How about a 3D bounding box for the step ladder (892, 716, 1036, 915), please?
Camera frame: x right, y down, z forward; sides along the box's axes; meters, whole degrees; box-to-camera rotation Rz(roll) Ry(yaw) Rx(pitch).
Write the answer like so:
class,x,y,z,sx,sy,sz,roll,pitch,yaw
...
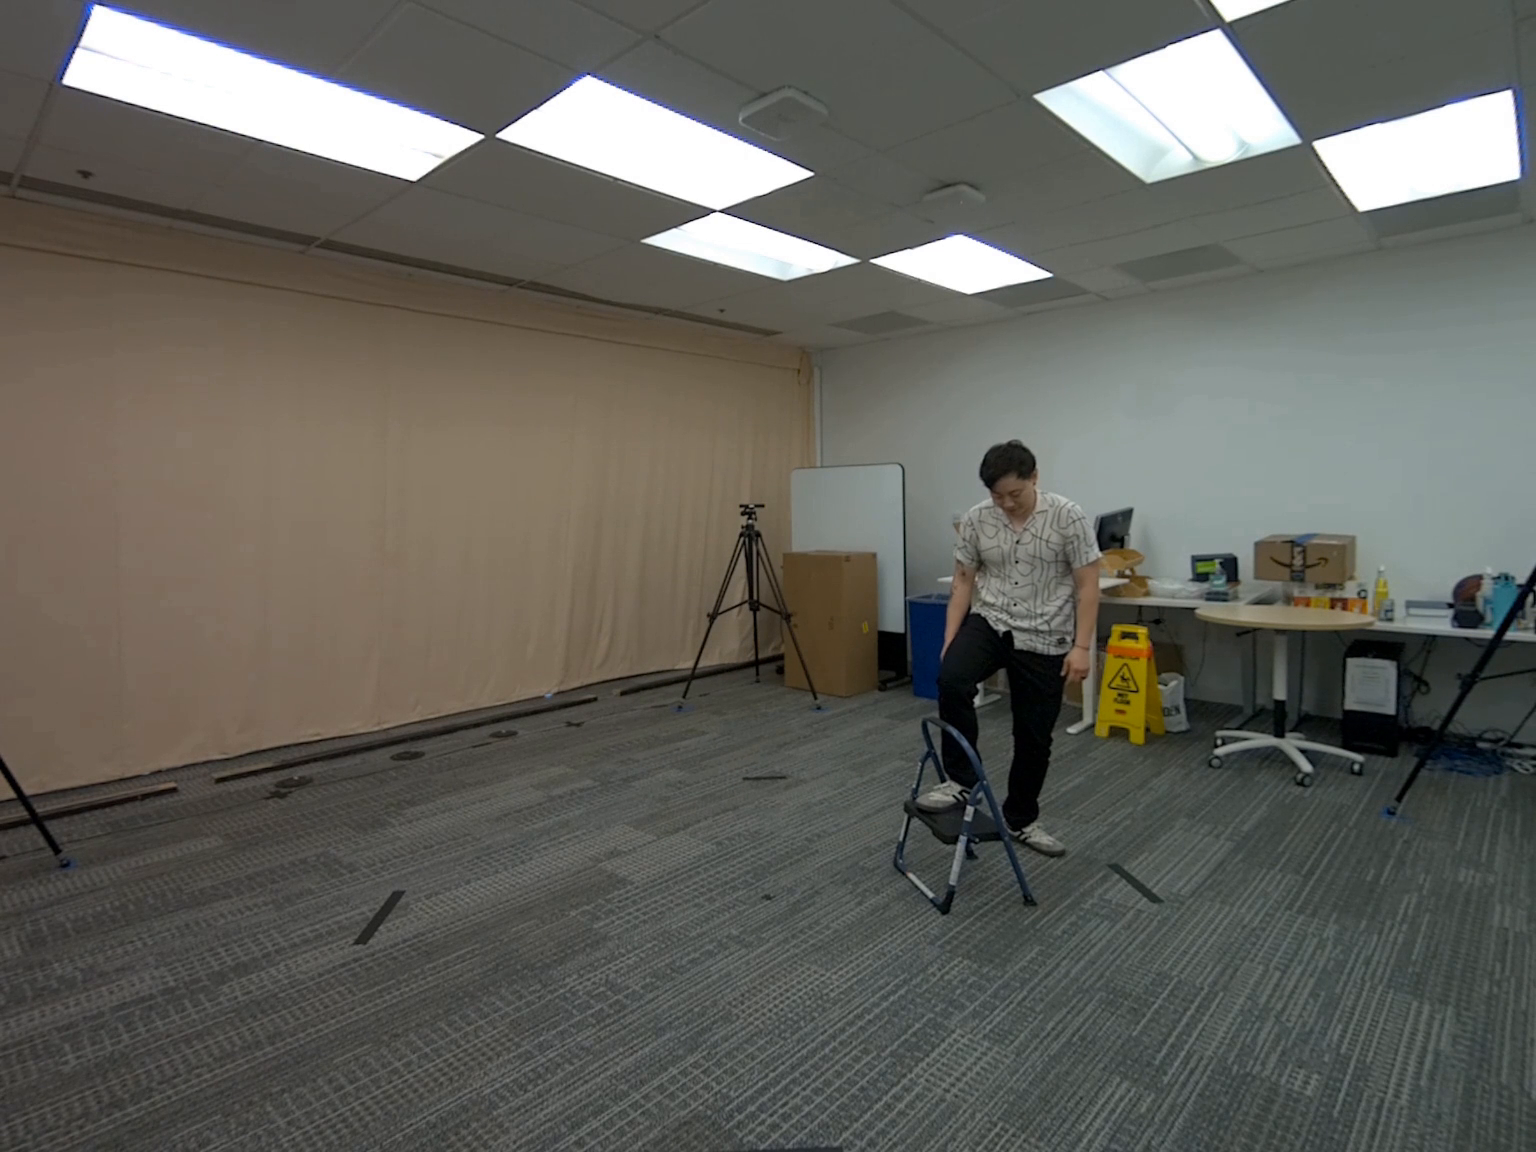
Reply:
class,x,y,z,sx,sy,sz,roll,pitch,yaw
step ladder,0.702,0.822,3.046,0.344,0.605,0.438,-1,4,-15
